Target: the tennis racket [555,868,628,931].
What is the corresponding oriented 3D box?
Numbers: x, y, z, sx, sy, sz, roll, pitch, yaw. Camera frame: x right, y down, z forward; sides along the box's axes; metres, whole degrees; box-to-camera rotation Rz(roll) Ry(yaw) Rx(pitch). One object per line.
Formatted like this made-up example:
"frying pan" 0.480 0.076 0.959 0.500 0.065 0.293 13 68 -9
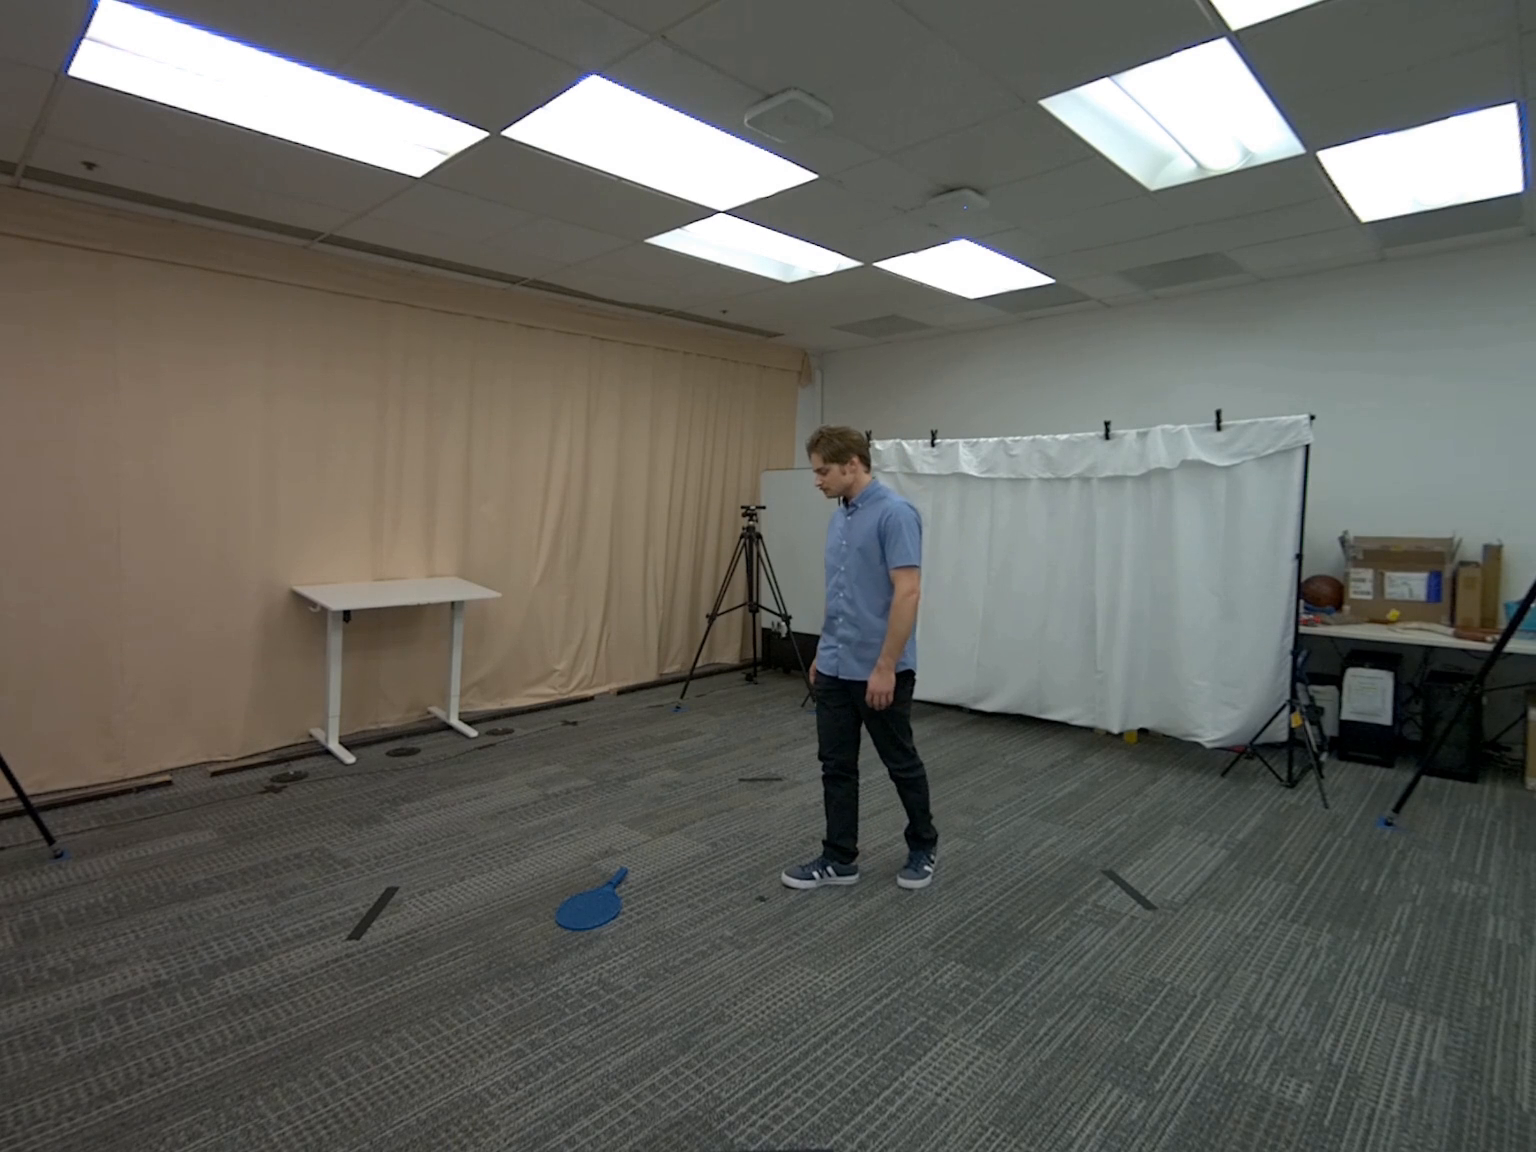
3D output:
"tennis racket" -0.589 1.134 2.973 0.218 0.031 0.426 1 7 16
